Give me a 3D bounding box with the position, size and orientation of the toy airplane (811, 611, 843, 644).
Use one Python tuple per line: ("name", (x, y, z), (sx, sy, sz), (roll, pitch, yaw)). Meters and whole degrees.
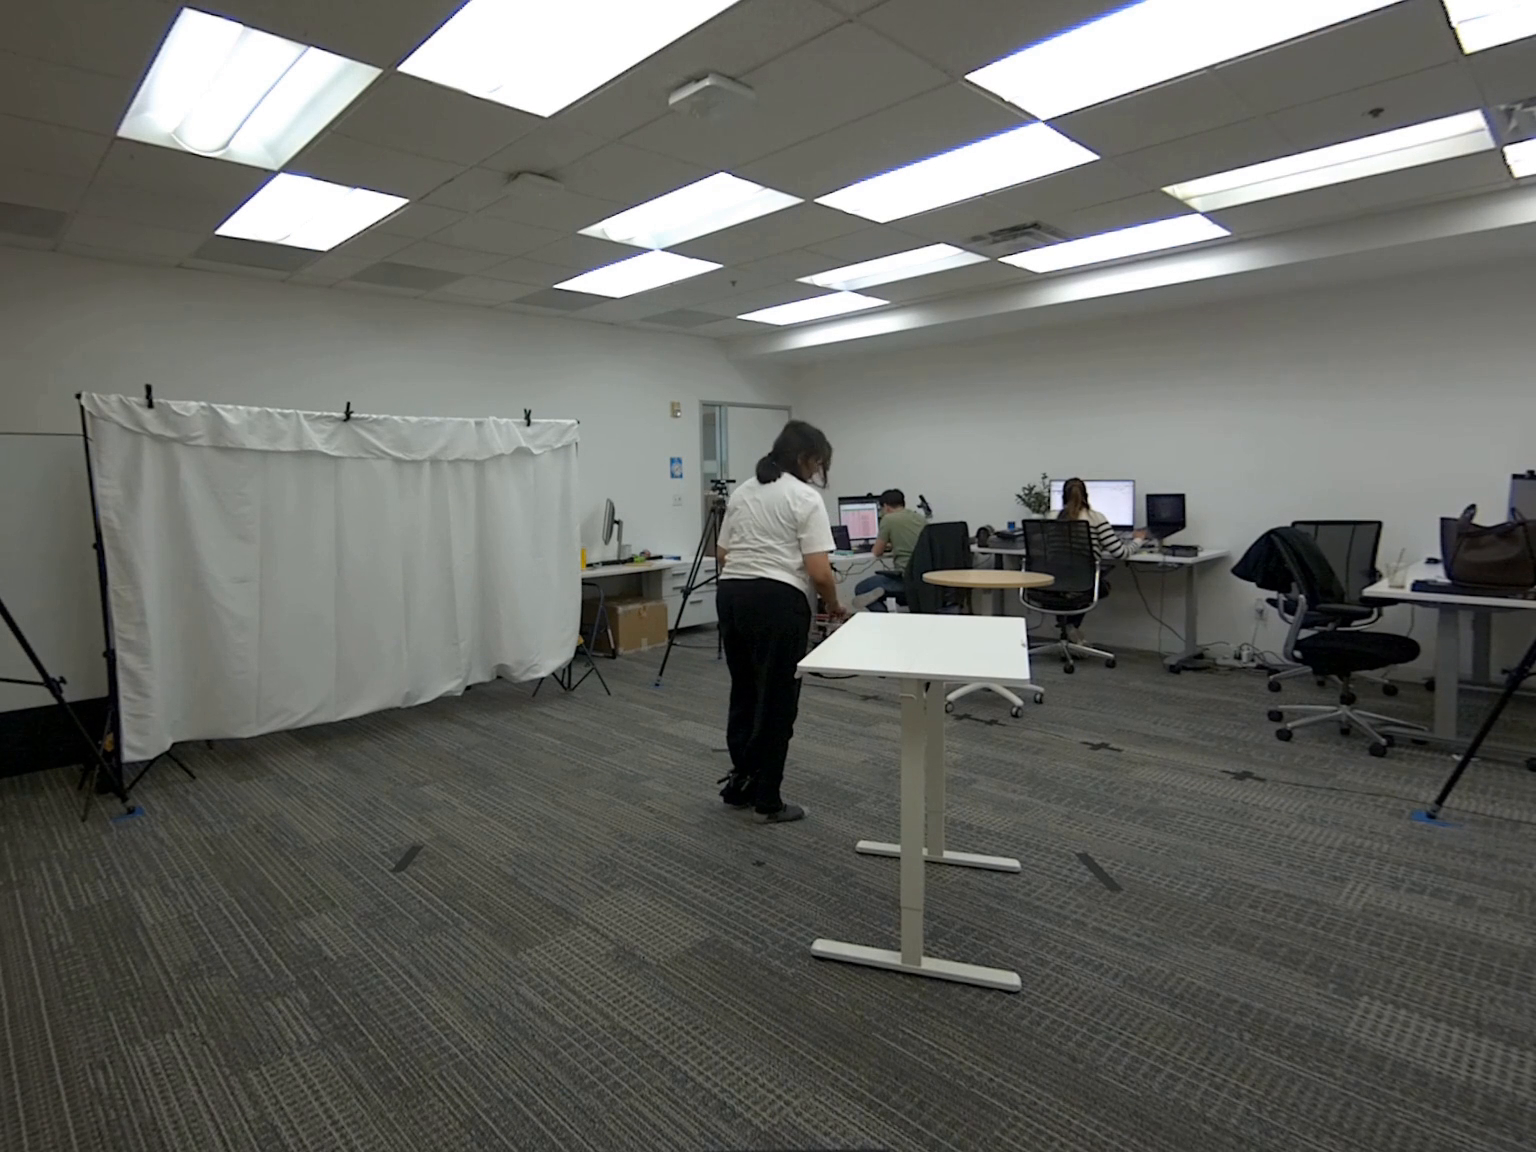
("toy airplane", (0.316, 0.239, 3.713), (0.250, 0.158, 0.256), (15, -22, -3))
